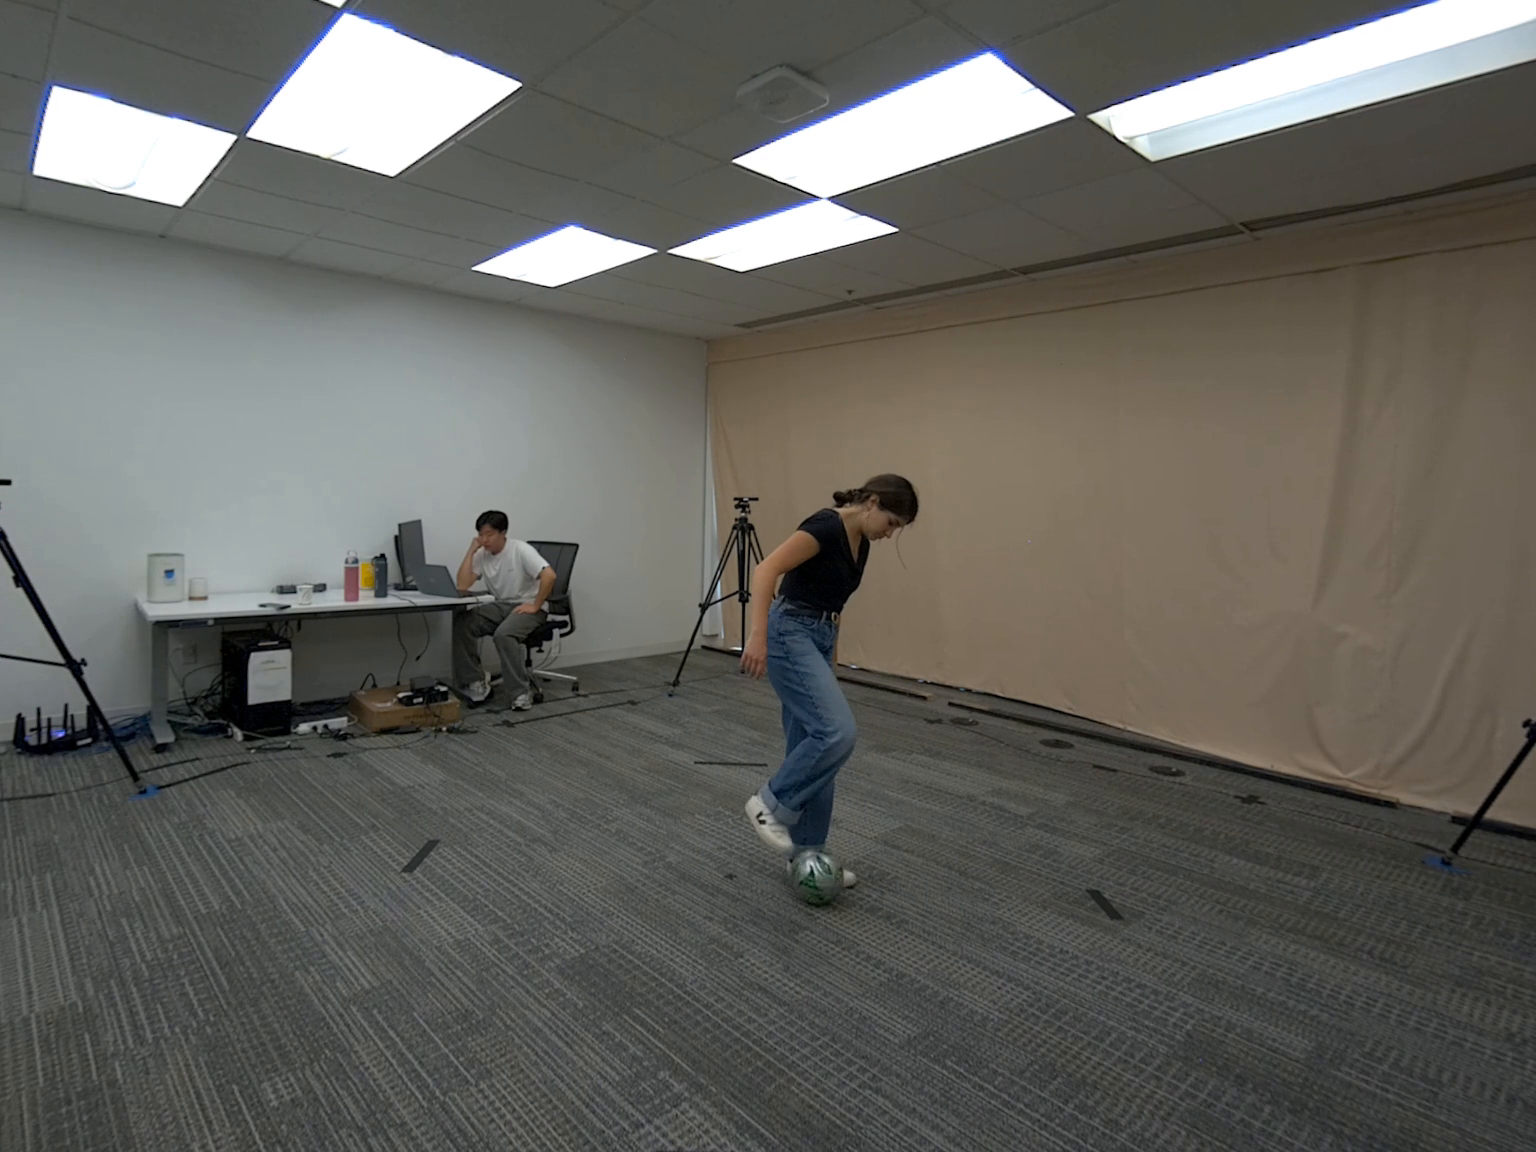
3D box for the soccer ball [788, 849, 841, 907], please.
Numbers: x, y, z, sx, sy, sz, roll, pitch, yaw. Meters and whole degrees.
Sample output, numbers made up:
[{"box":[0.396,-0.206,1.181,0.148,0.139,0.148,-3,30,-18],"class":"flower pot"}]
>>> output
[{"box":[0.159,1.043,2.912,0.187,0.187,0.188,1,4,-1],"class":"soccer ball"}]
